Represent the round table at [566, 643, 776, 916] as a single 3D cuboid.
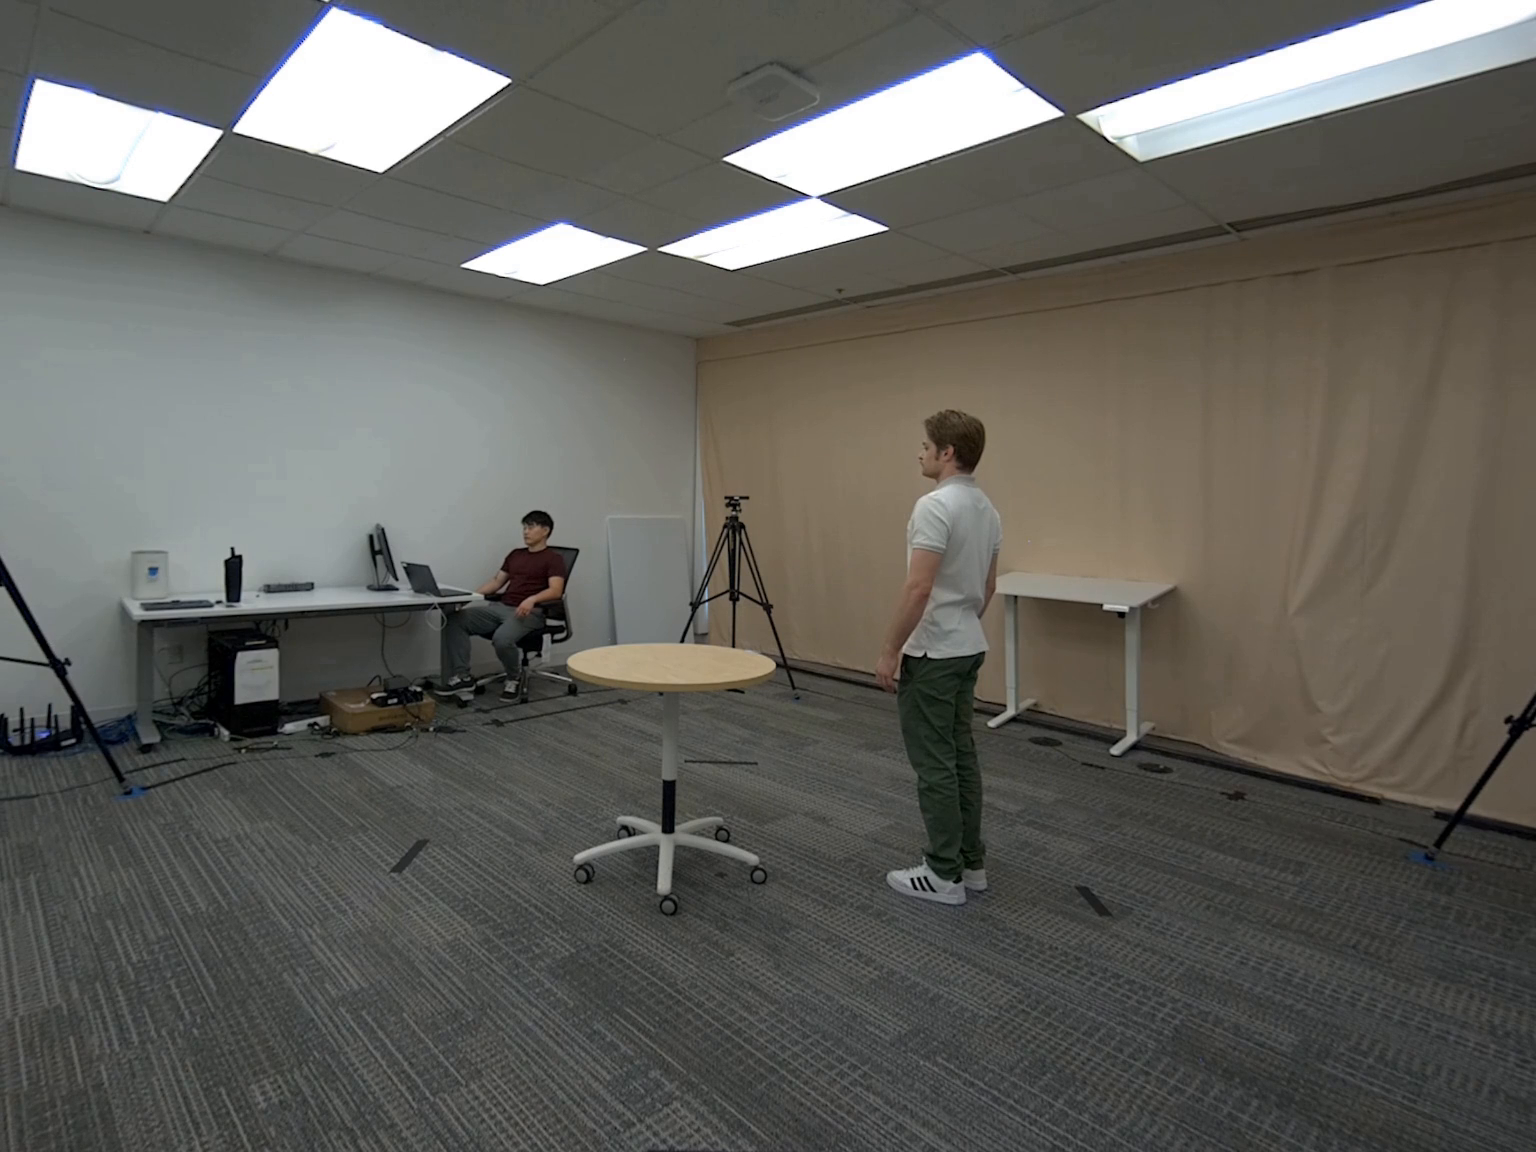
[{"bbox_3d":[-0.366,0.707,3.123,0.763,0.792,0.766,2,4,-1],"label":"round table"}]
